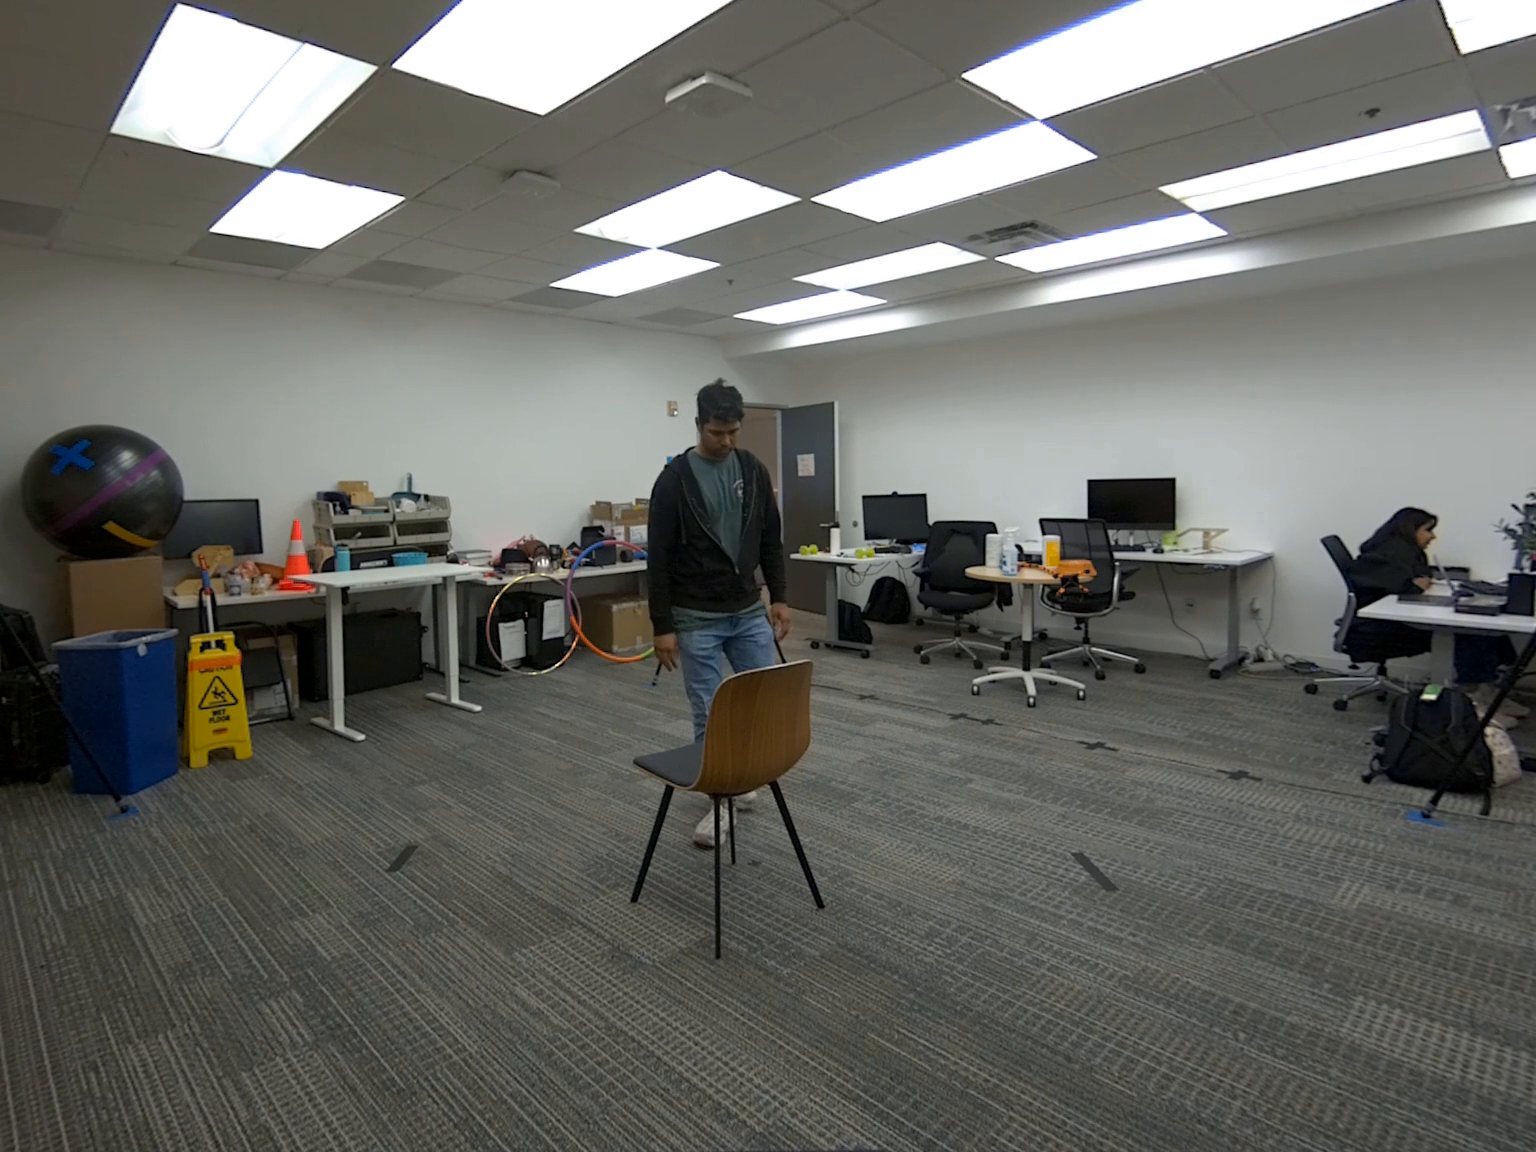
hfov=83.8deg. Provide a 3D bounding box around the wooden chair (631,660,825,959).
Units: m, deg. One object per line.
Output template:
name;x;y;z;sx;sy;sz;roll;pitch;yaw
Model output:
wooden chair;-0.145;0.661;2.777;0.466;0.871;0.541;-5;11;-41
